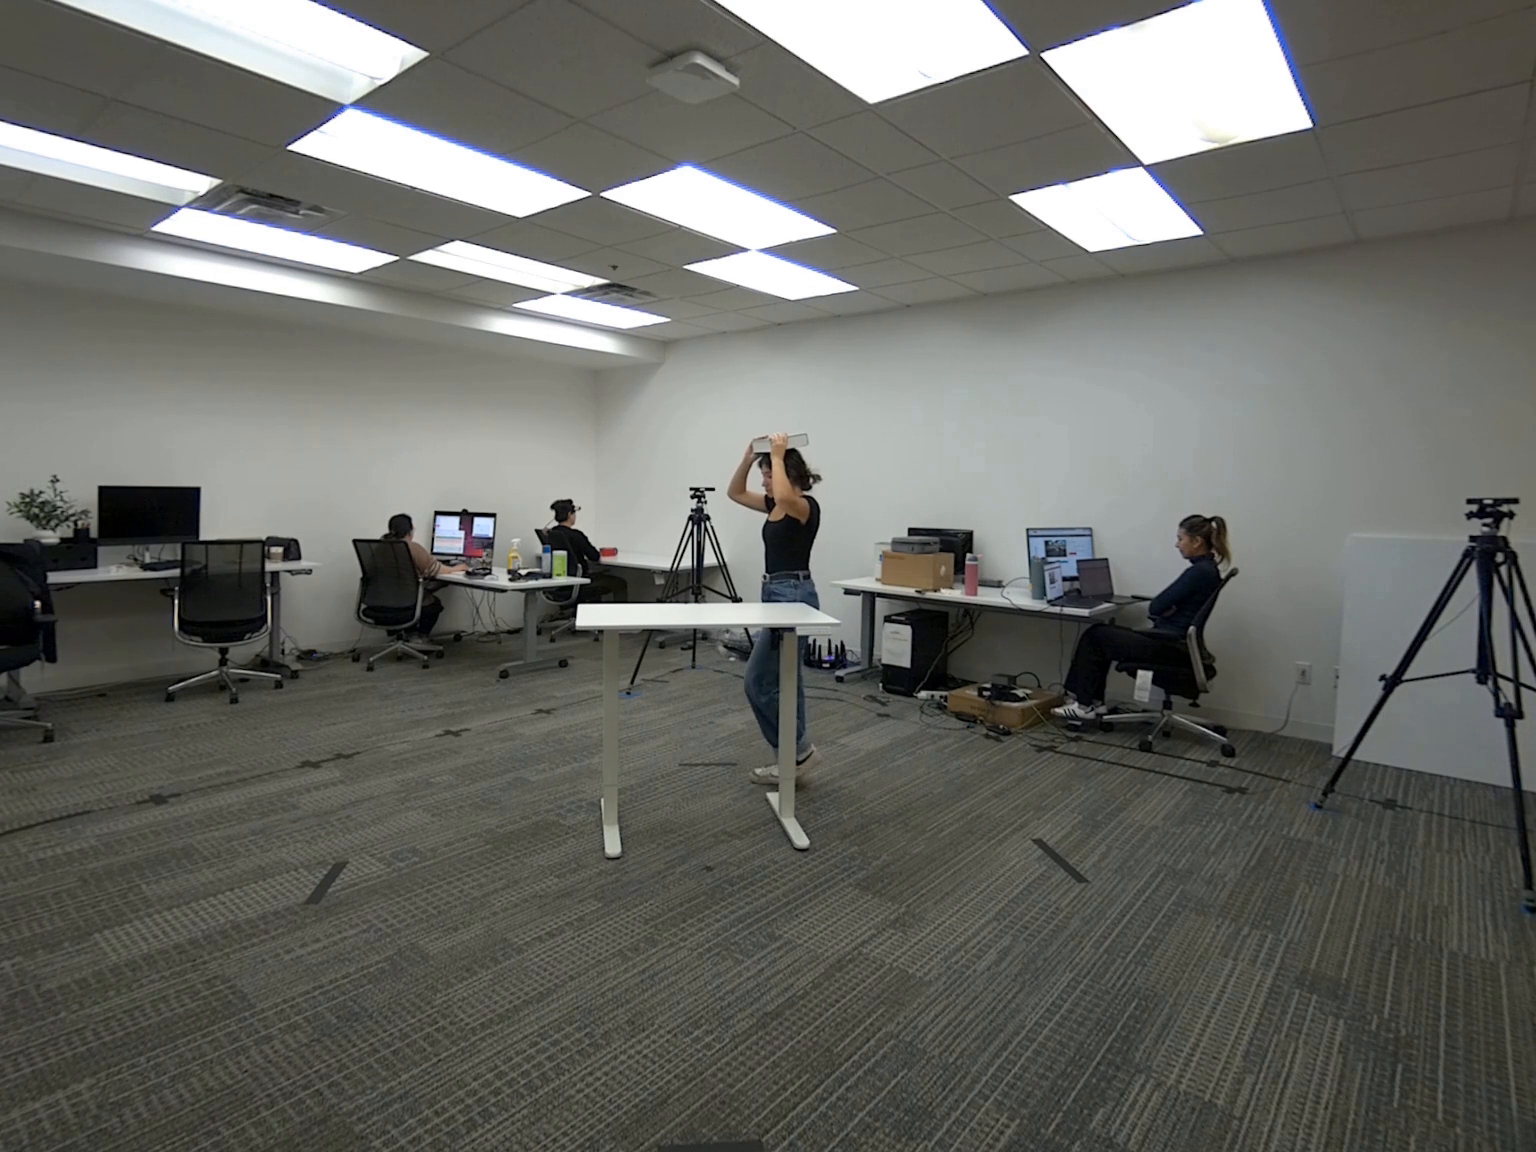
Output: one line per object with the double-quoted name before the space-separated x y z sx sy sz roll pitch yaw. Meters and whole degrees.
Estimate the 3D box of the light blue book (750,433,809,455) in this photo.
"light blue book" 0.045 -0.623 3.947 0.189 0.058 0.267 -11 10 -17
